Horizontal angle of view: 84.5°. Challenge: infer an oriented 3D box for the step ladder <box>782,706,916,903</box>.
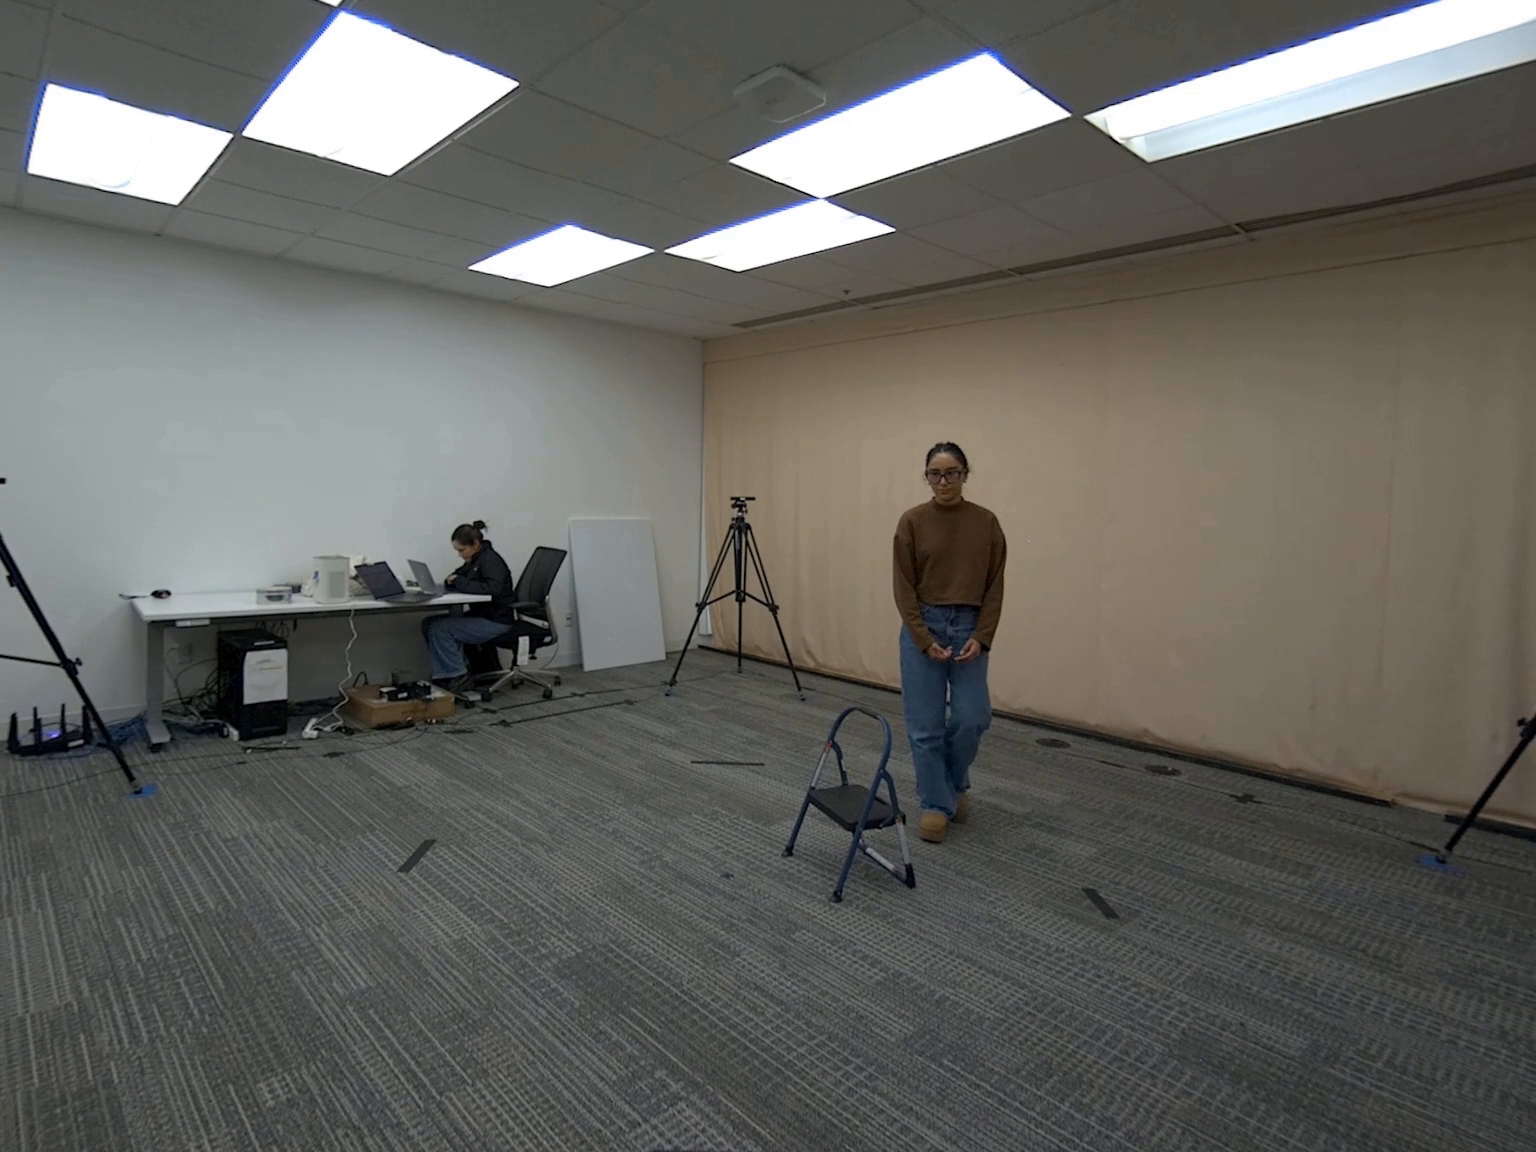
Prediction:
[{"bbox_3d":[0.298,0.809,3.154,0.343,0.604,0.439,0,4,-24],"label":"step ladder"}]
